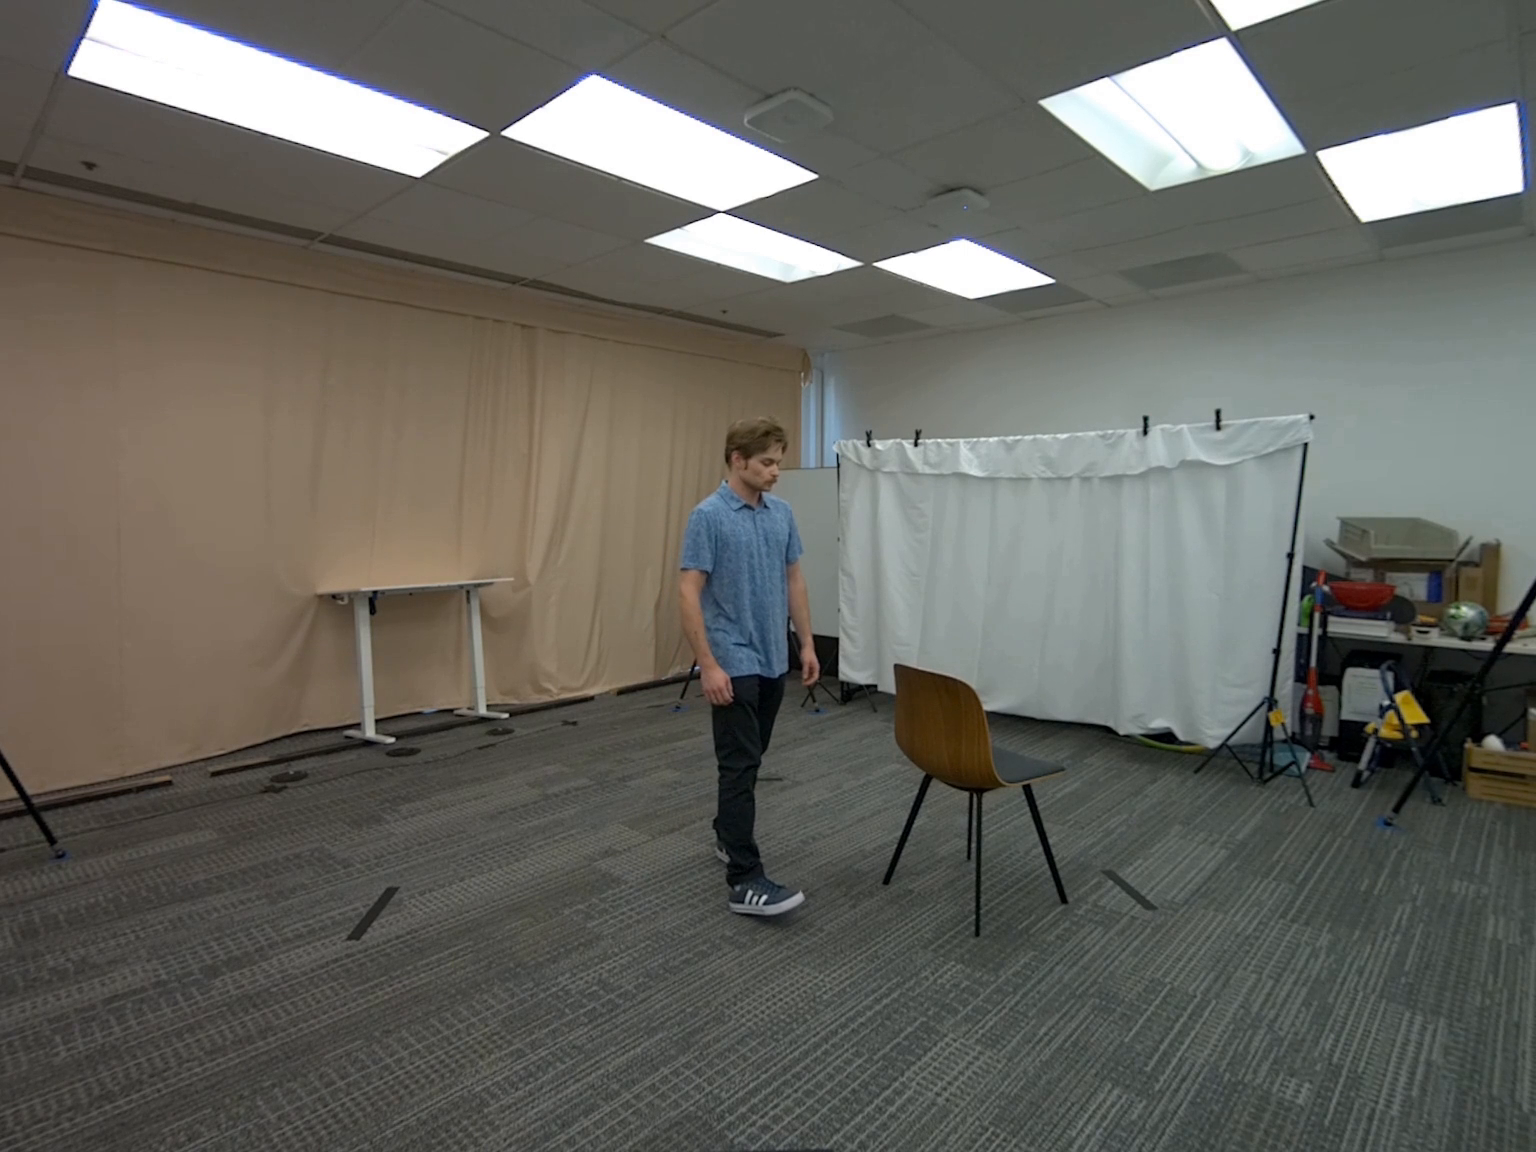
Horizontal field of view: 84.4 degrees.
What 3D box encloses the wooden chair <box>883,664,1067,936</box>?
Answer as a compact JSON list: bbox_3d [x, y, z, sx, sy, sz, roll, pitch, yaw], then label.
[{"bbox_3d":[0.748,0.714,2.986,0.509,0.874,0.493,-7,6,-33],"label":"wooden chair"}]
